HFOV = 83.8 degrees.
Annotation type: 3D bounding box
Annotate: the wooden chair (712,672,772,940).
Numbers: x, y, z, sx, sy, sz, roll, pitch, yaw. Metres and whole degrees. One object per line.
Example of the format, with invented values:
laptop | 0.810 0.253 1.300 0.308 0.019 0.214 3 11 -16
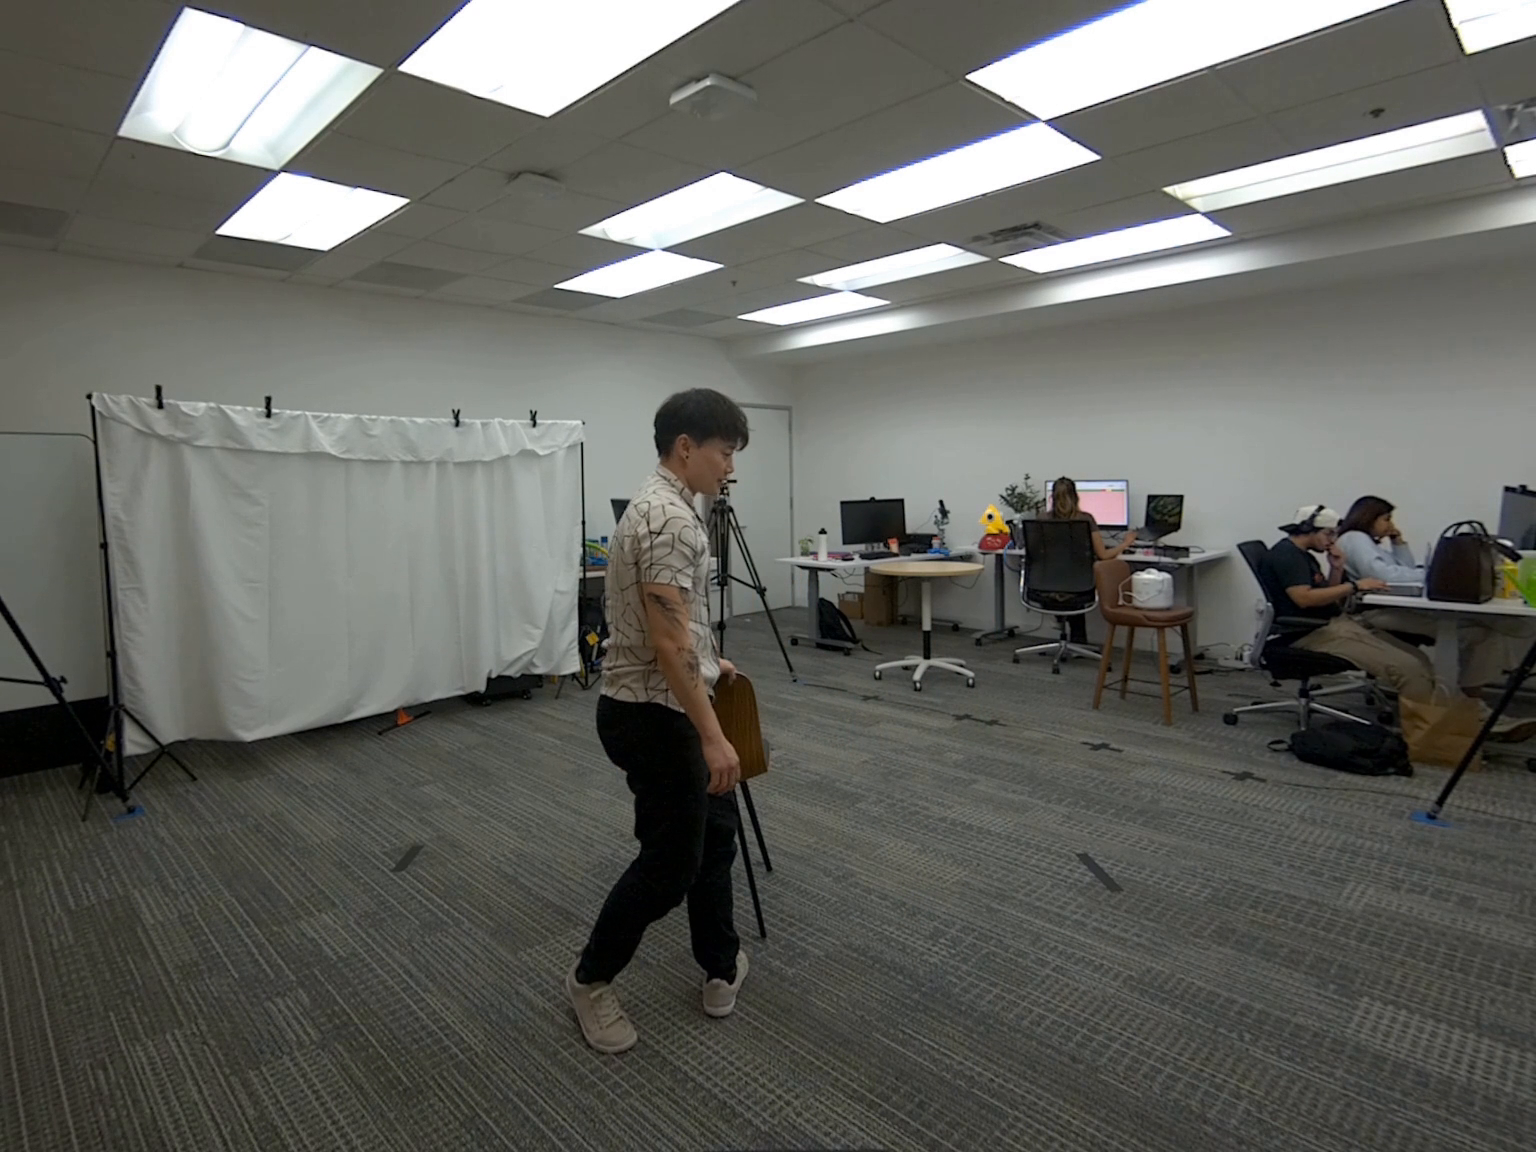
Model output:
wooden chair | -0.227 0.656 2.827 0.480 0.870 0.525 -1 9 4
